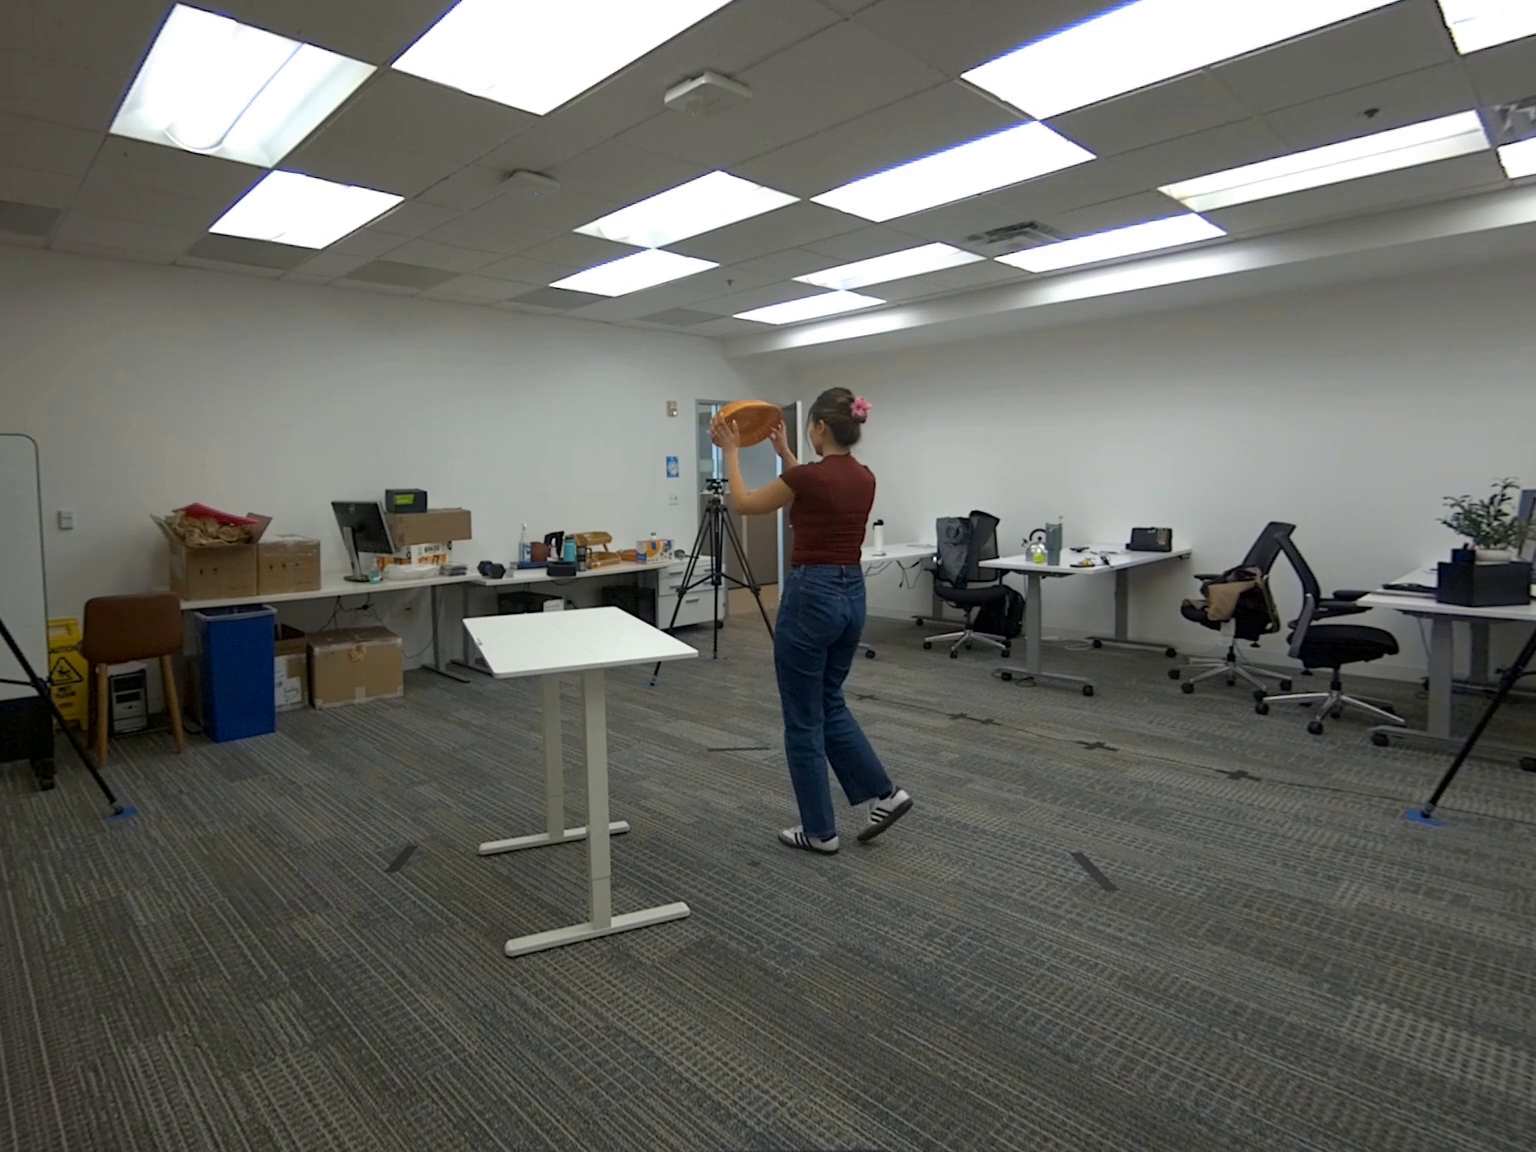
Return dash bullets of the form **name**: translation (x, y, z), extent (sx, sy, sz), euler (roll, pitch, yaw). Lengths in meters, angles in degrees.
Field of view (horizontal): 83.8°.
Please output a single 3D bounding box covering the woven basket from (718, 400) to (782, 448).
- **woven basket**: translation (-0.092, -0.635, 3.499), extent (0.341, 0.075, 0.252), euler (-6, -33, -47)
